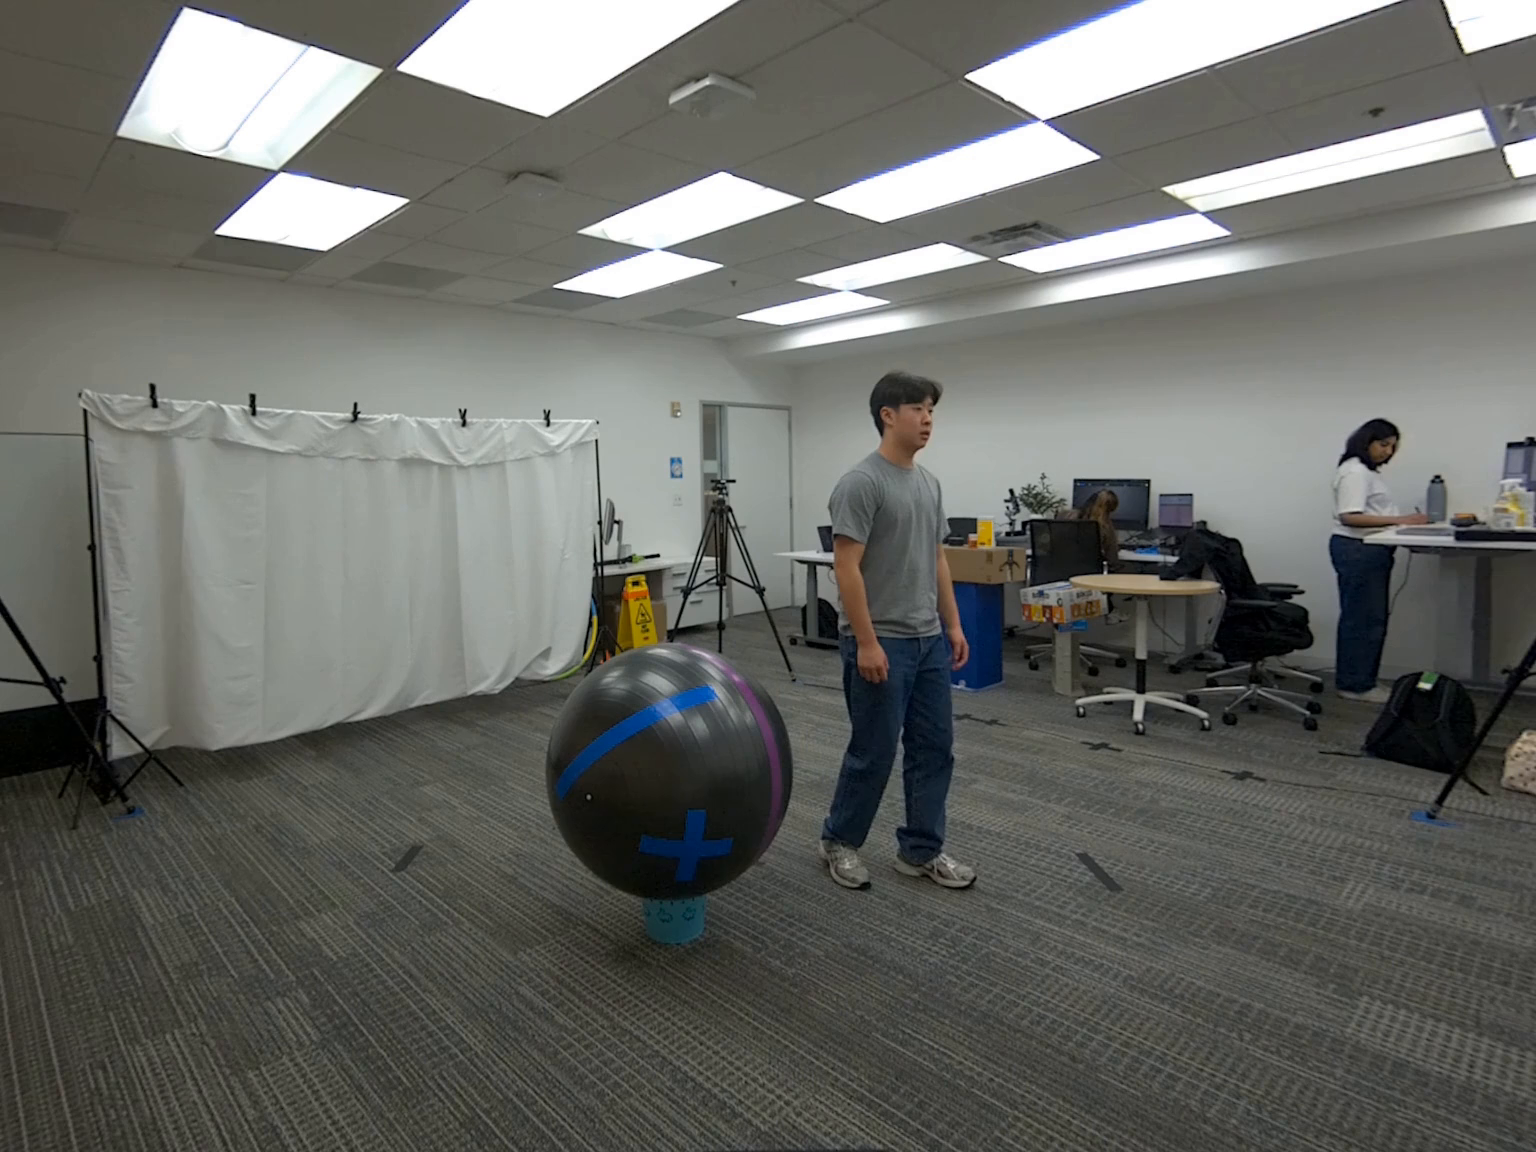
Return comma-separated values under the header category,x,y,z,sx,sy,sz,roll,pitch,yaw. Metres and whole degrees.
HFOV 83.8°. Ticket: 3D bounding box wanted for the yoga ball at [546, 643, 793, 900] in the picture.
category,x,y,z,sx,sy,sz,roll,pitch,yaw
yoga ball,-0.301,0.591,2.650,0.757,0.755,0.762,-1,5,-2
